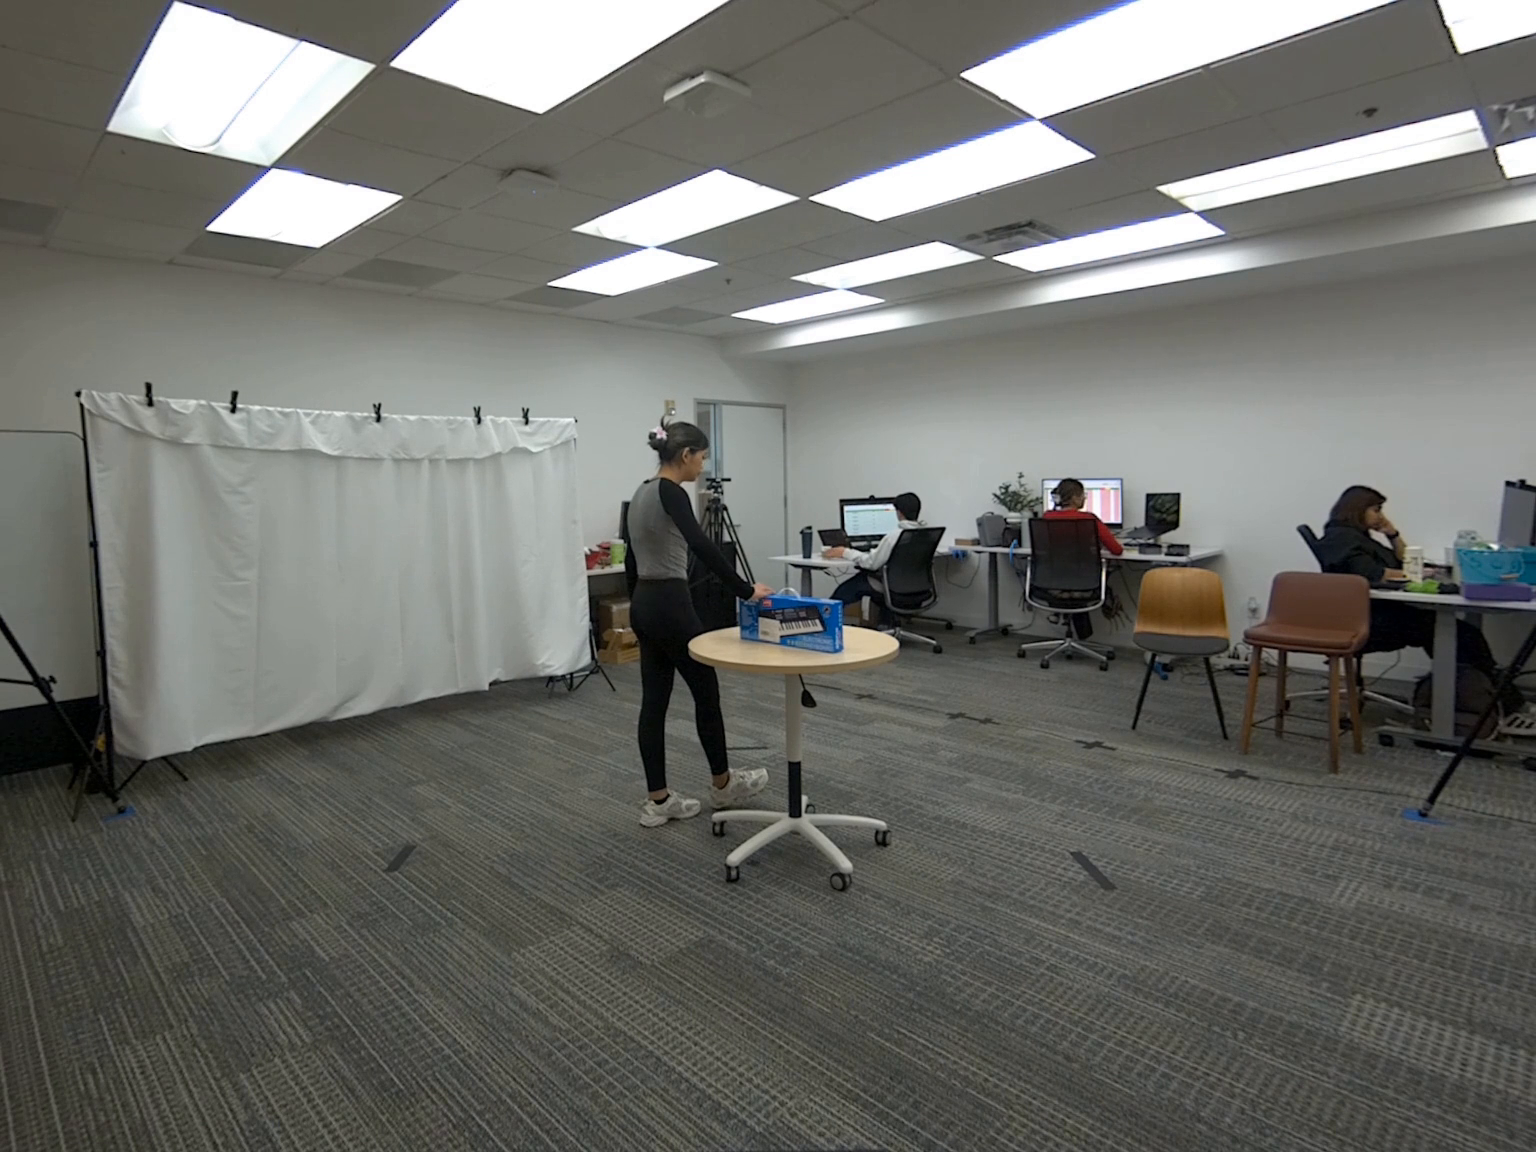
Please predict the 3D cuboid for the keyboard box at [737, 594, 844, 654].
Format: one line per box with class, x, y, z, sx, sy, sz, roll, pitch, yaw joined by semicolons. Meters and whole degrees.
keyboard box;0.079;0.164;3.081;0.450;0.175;0.057;4;8;43
